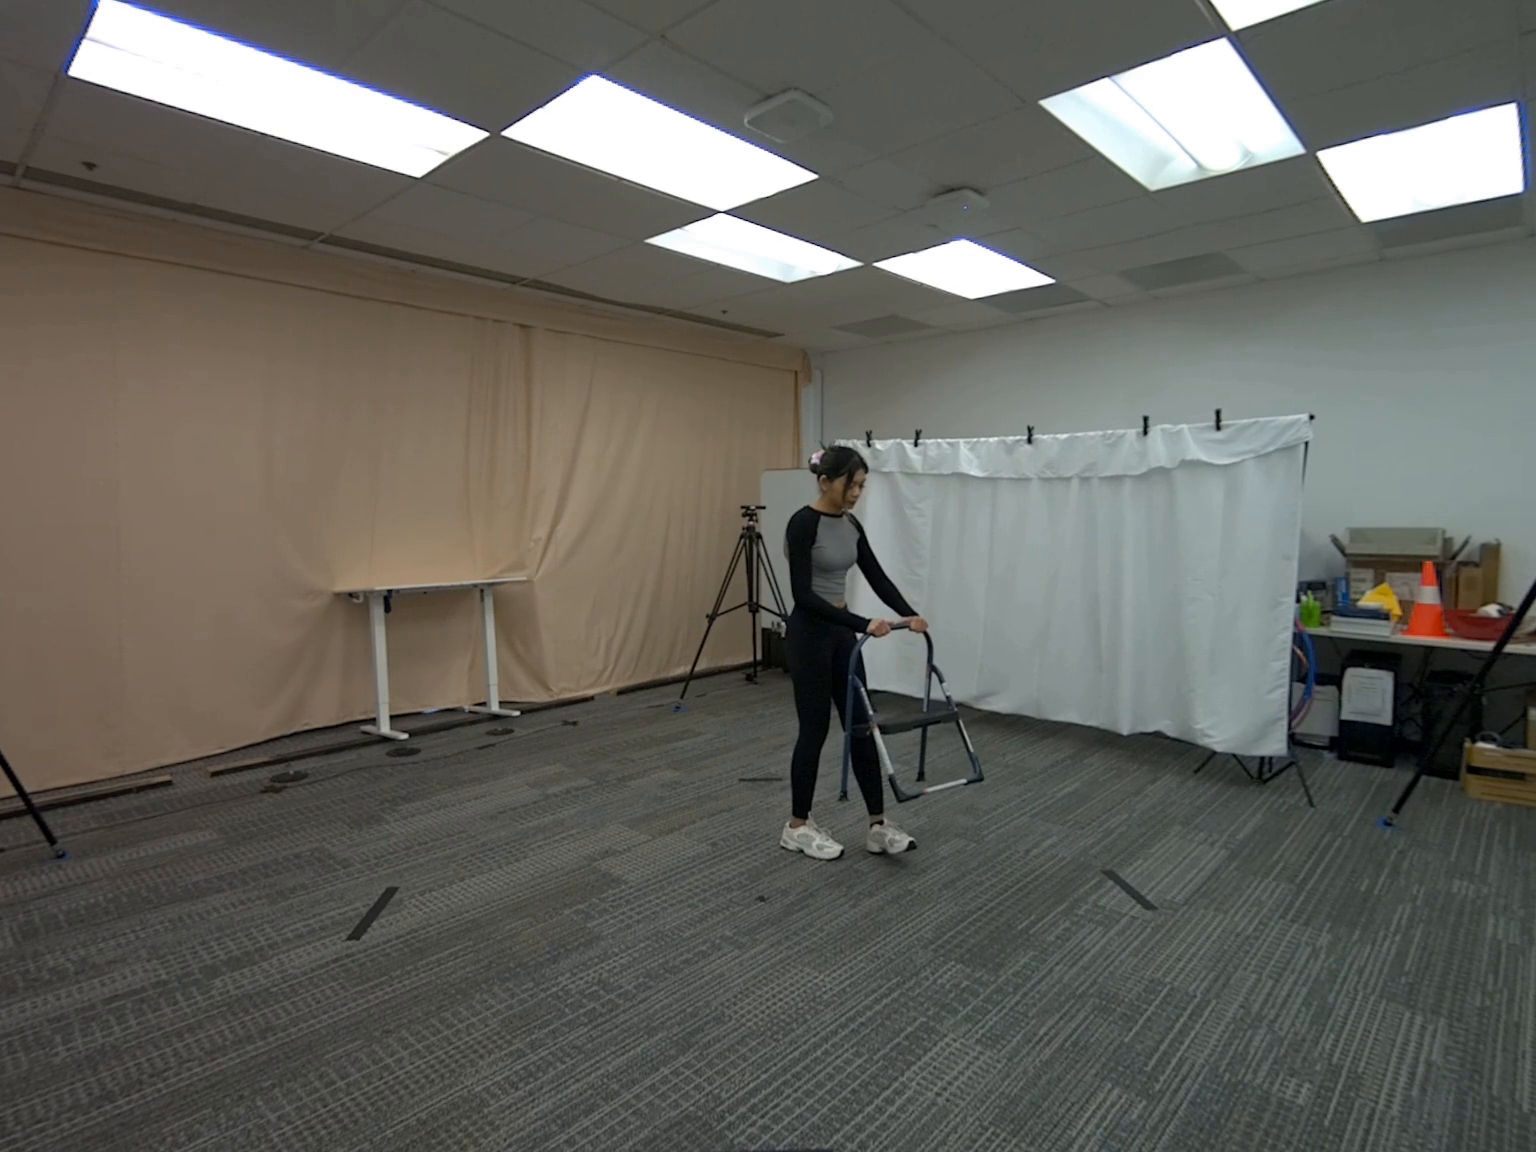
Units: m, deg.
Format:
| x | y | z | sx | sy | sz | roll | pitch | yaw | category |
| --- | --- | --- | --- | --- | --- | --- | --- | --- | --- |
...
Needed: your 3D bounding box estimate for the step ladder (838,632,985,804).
| x | y | z | sx | sy | sz | roll | pitch | yaw | category |
| --- | --- | --- | --- | --- | --- | --- | --- | --- | --- |
| 0.482 | 0.495 | 3.130 | 0.418 | 0.610 | 0.357 | -3 | -10 | -34 | step ladder |
